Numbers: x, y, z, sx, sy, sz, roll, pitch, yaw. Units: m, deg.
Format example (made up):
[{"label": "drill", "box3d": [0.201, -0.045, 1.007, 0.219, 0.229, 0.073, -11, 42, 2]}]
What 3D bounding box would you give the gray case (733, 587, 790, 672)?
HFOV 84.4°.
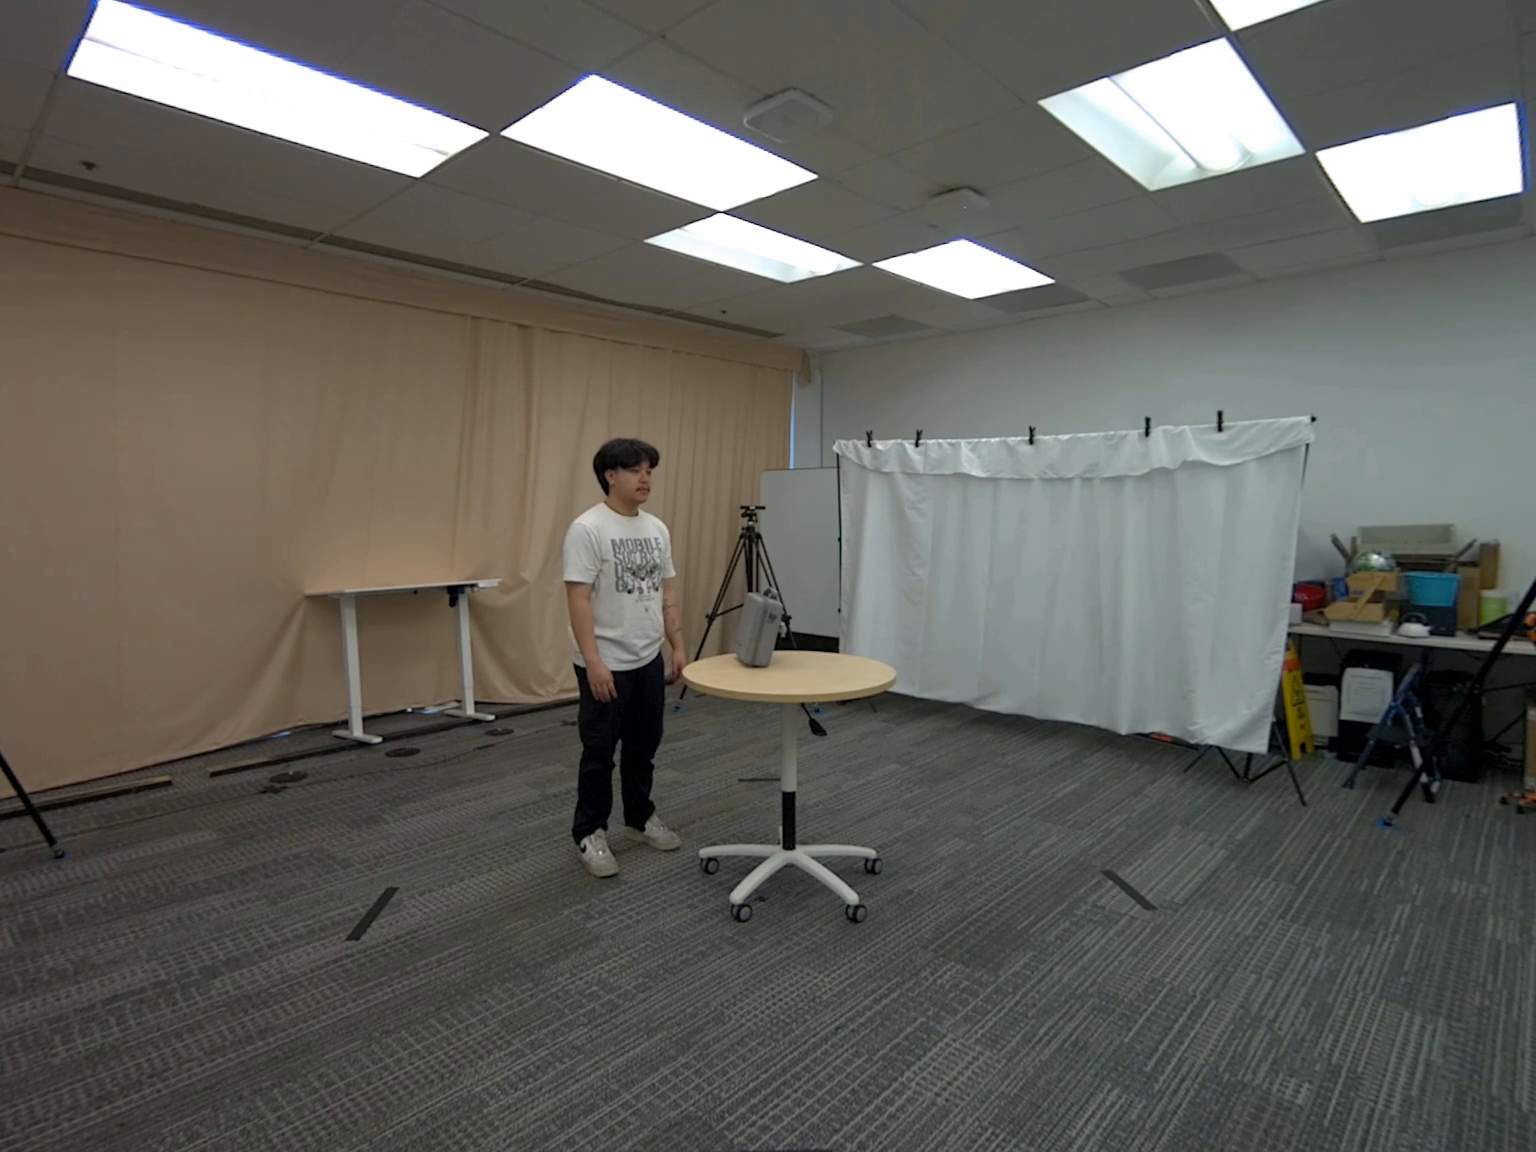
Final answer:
[{"label": "gray case", "box3d": [-0.031, 0.194, 3.194, 0.103, 0.260, 0.260, 14, 2, -12]}]
